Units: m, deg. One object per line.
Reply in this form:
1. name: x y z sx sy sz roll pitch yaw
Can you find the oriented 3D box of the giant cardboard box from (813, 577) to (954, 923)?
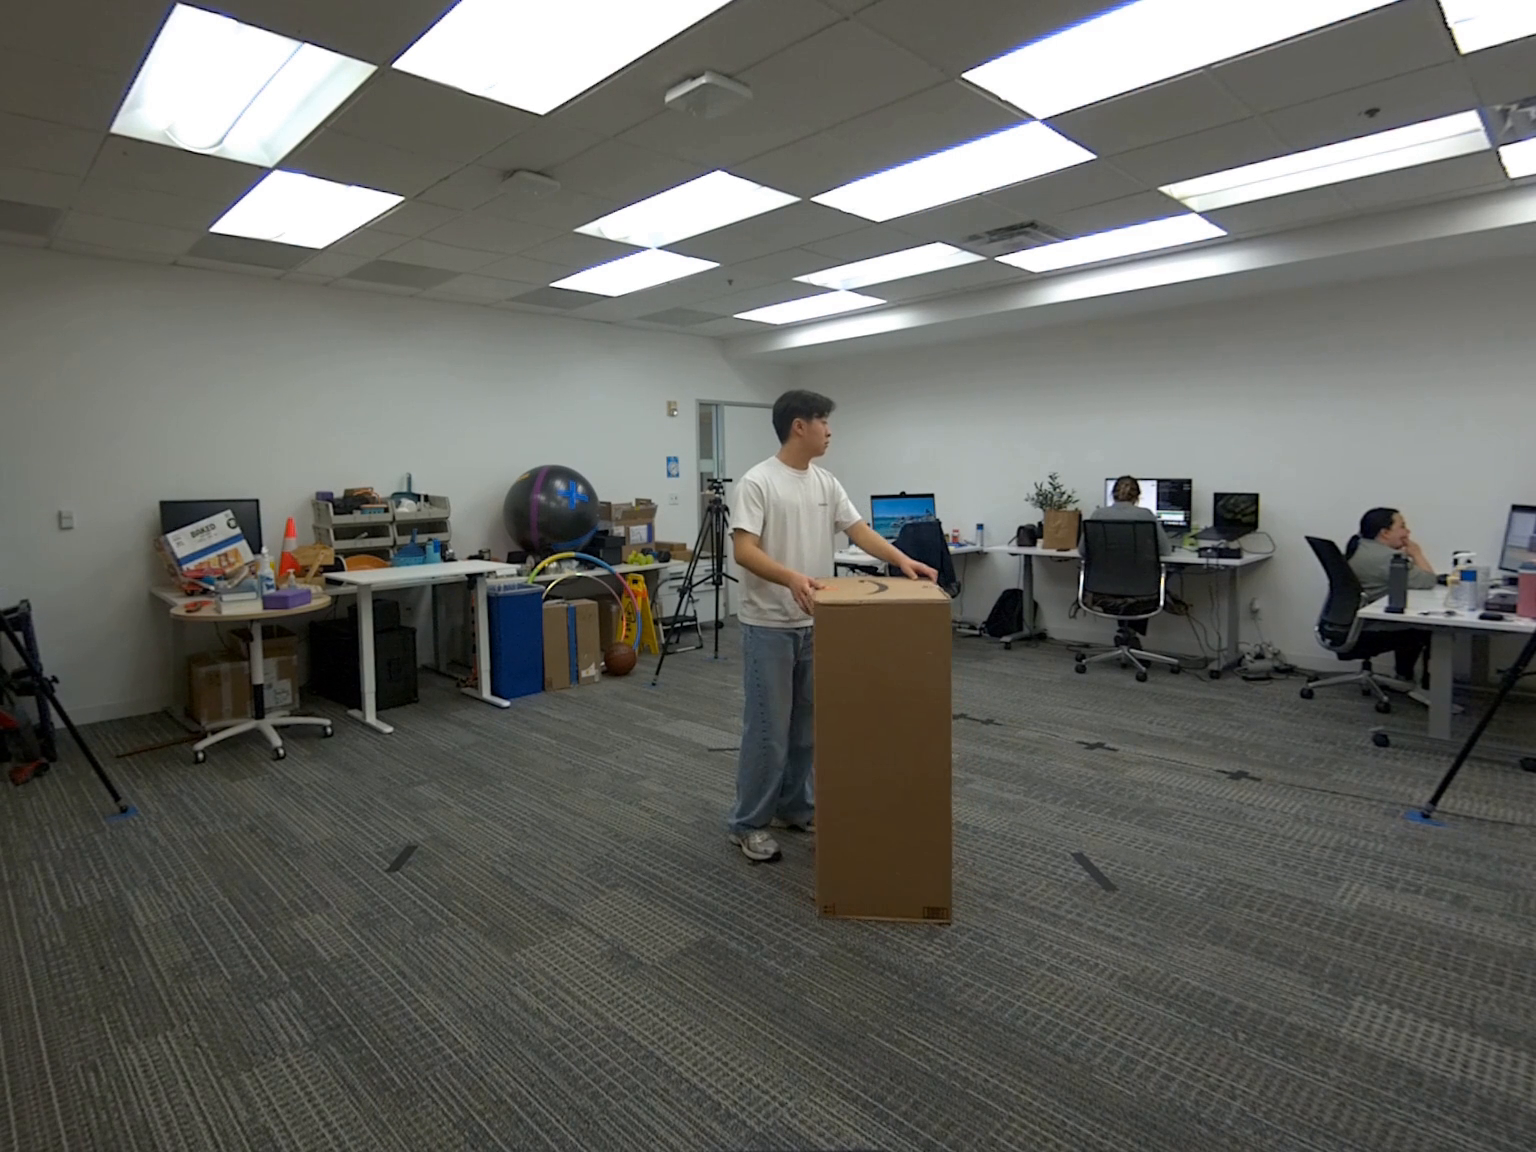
1. giant cardboard box: 0.382 0.549 2.925 0.430 1.022 0.575 -1 4 7
